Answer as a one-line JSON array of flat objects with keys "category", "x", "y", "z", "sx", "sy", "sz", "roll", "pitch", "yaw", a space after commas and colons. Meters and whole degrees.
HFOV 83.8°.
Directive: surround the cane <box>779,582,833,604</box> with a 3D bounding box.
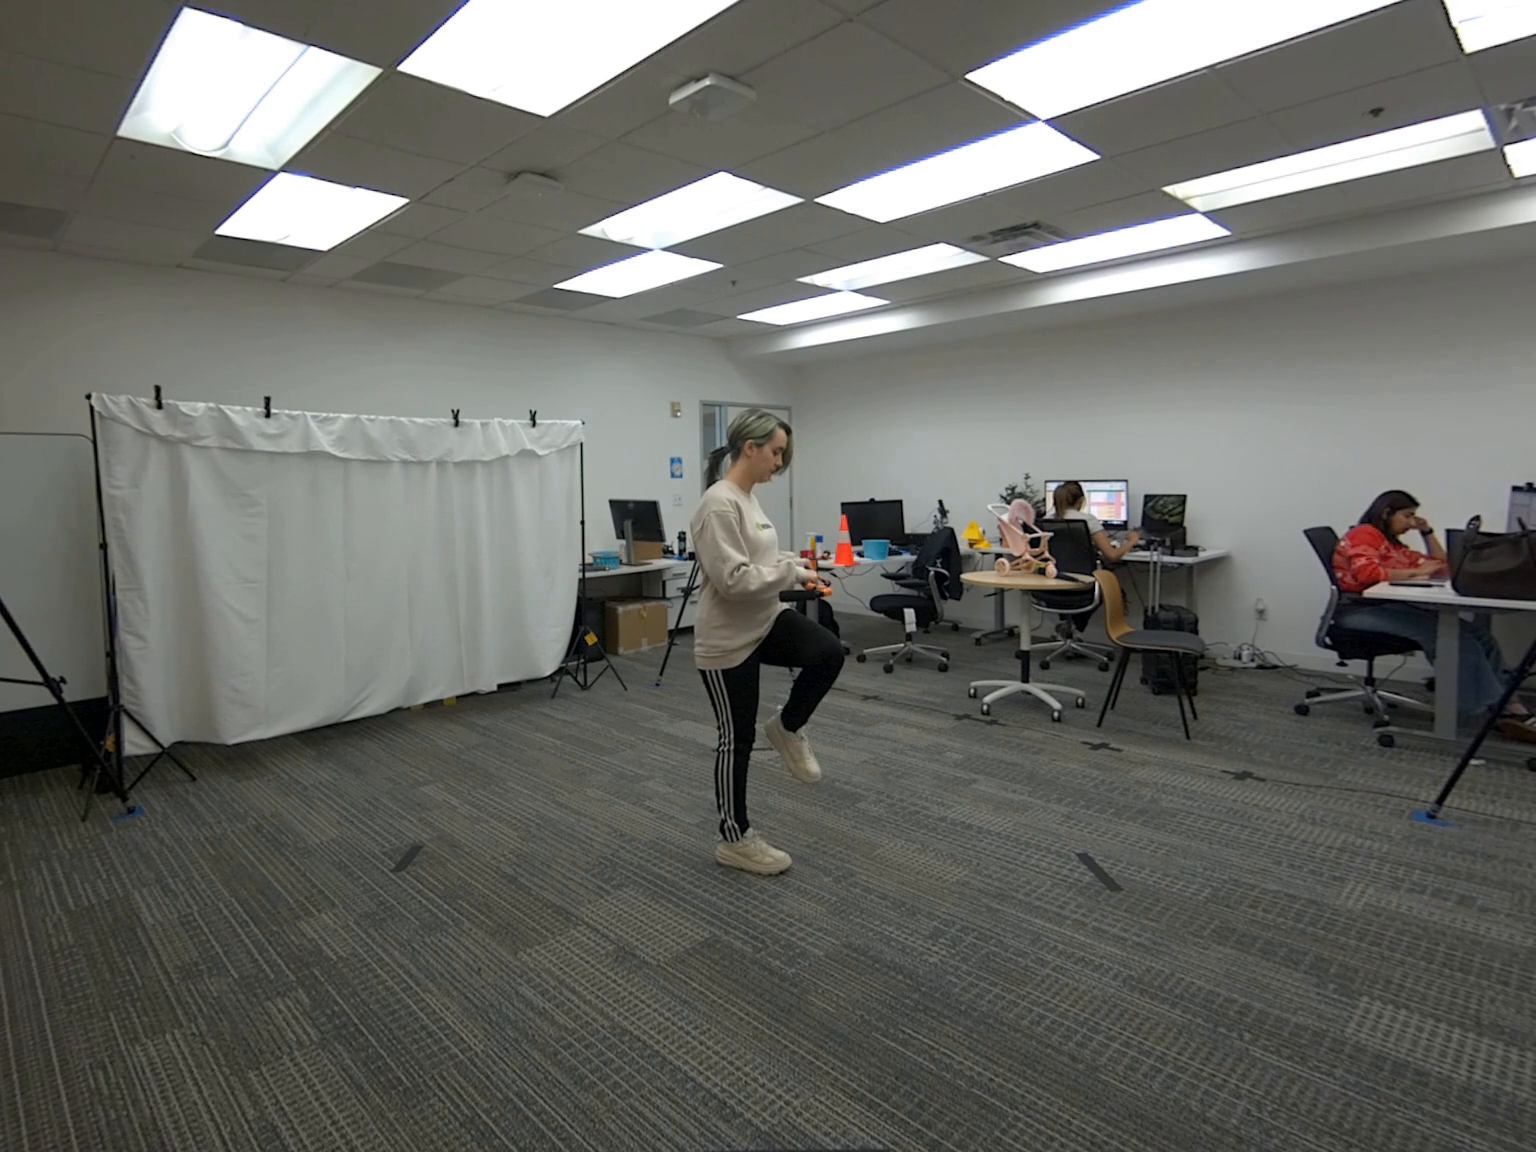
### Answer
[{"category": "cane", "x": 0.161, "y": 0.027, "z": 3.044, "sx": 0.207, "sy": 0.151, "sz": 0.910, "roll": 0, "pitch": 7, "yaw": 2}]
